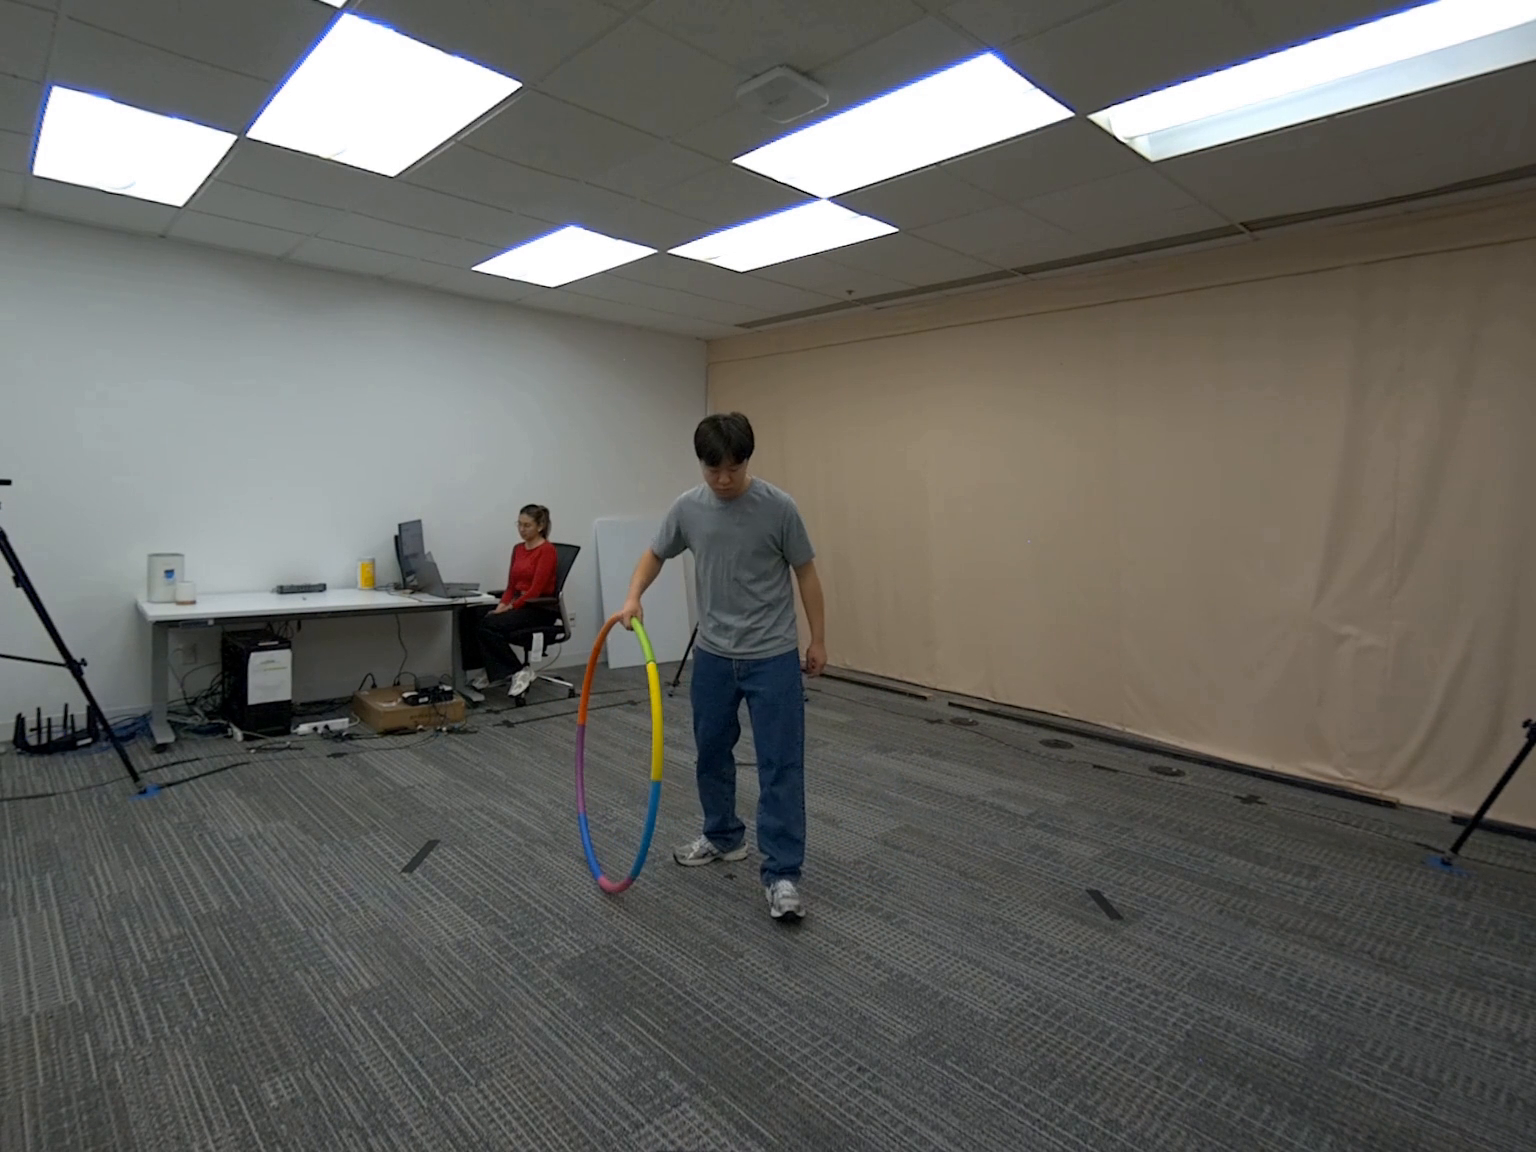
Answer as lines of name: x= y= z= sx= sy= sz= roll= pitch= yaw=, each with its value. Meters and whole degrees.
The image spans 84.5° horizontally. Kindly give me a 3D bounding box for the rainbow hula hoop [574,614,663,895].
rainbow hula hoop: x=-0.562 y=0.617 z=3.021 sx=0.035 sy=0.978 sz=0.998 roll=6 pitch=2 yaw=-26
